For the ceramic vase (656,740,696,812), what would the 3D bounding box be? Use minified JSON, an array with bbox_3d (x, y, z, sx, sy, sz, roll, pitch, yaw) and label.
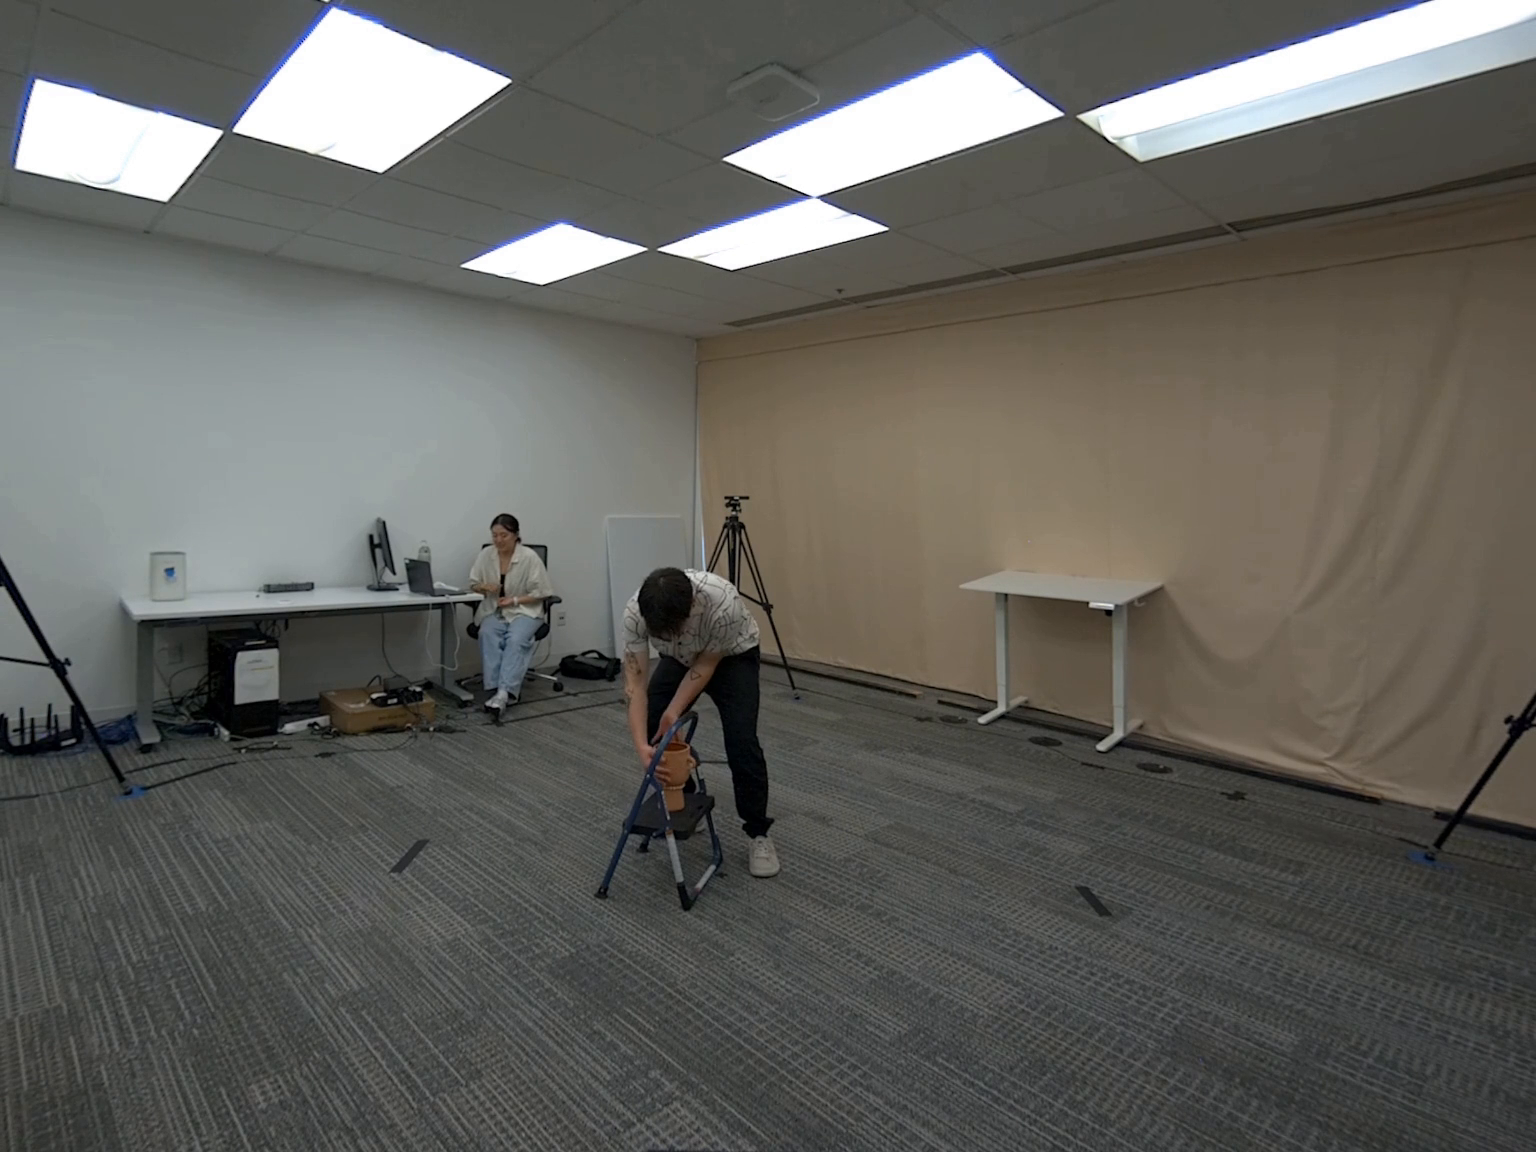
[{"bbox_3d":[-0.357,0.723,3.057,0.132,0.219,0.162,1,2,-28],"label":"ceramic vase"}]
